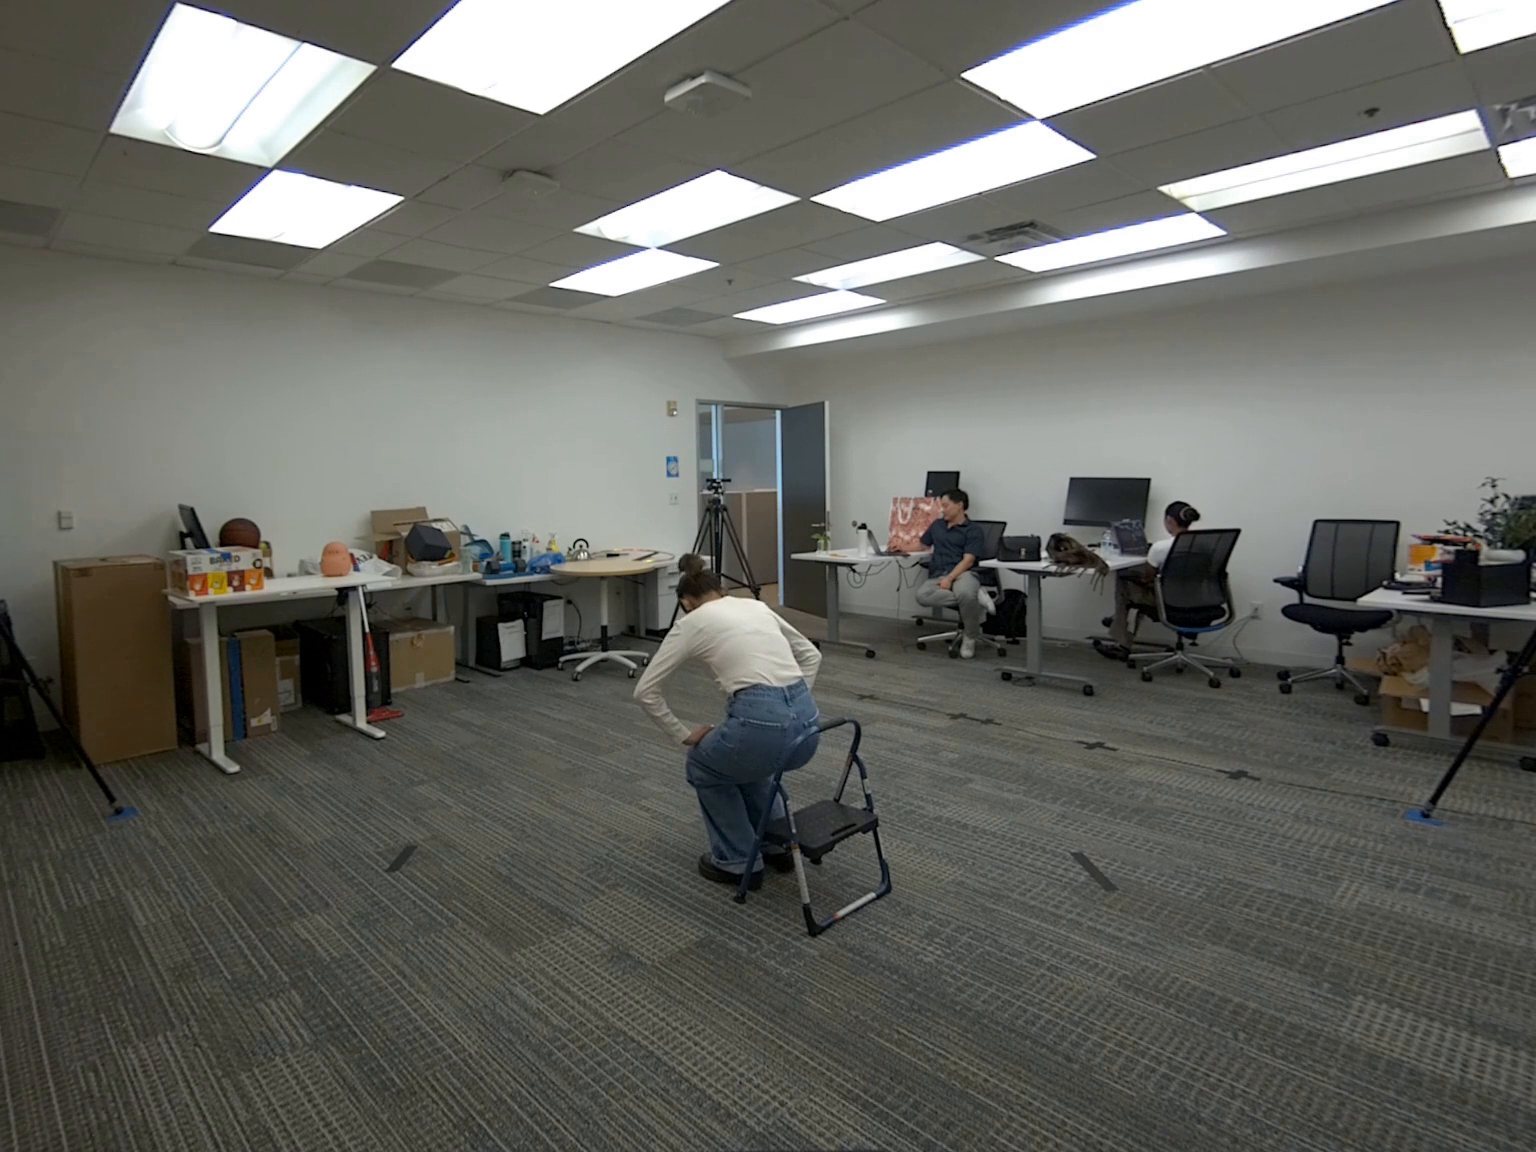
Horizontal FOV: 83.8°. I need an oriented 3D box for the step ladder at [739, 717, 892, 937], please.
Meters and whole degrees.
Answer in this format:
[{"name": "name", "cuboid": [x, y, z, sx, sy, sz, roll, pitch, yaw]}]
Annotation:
[{"name": "step ladder", "cuboid": [0.155, 0.767, 2.837, 0.360, 0.603, 0.419, 4, 7, 44]}]
